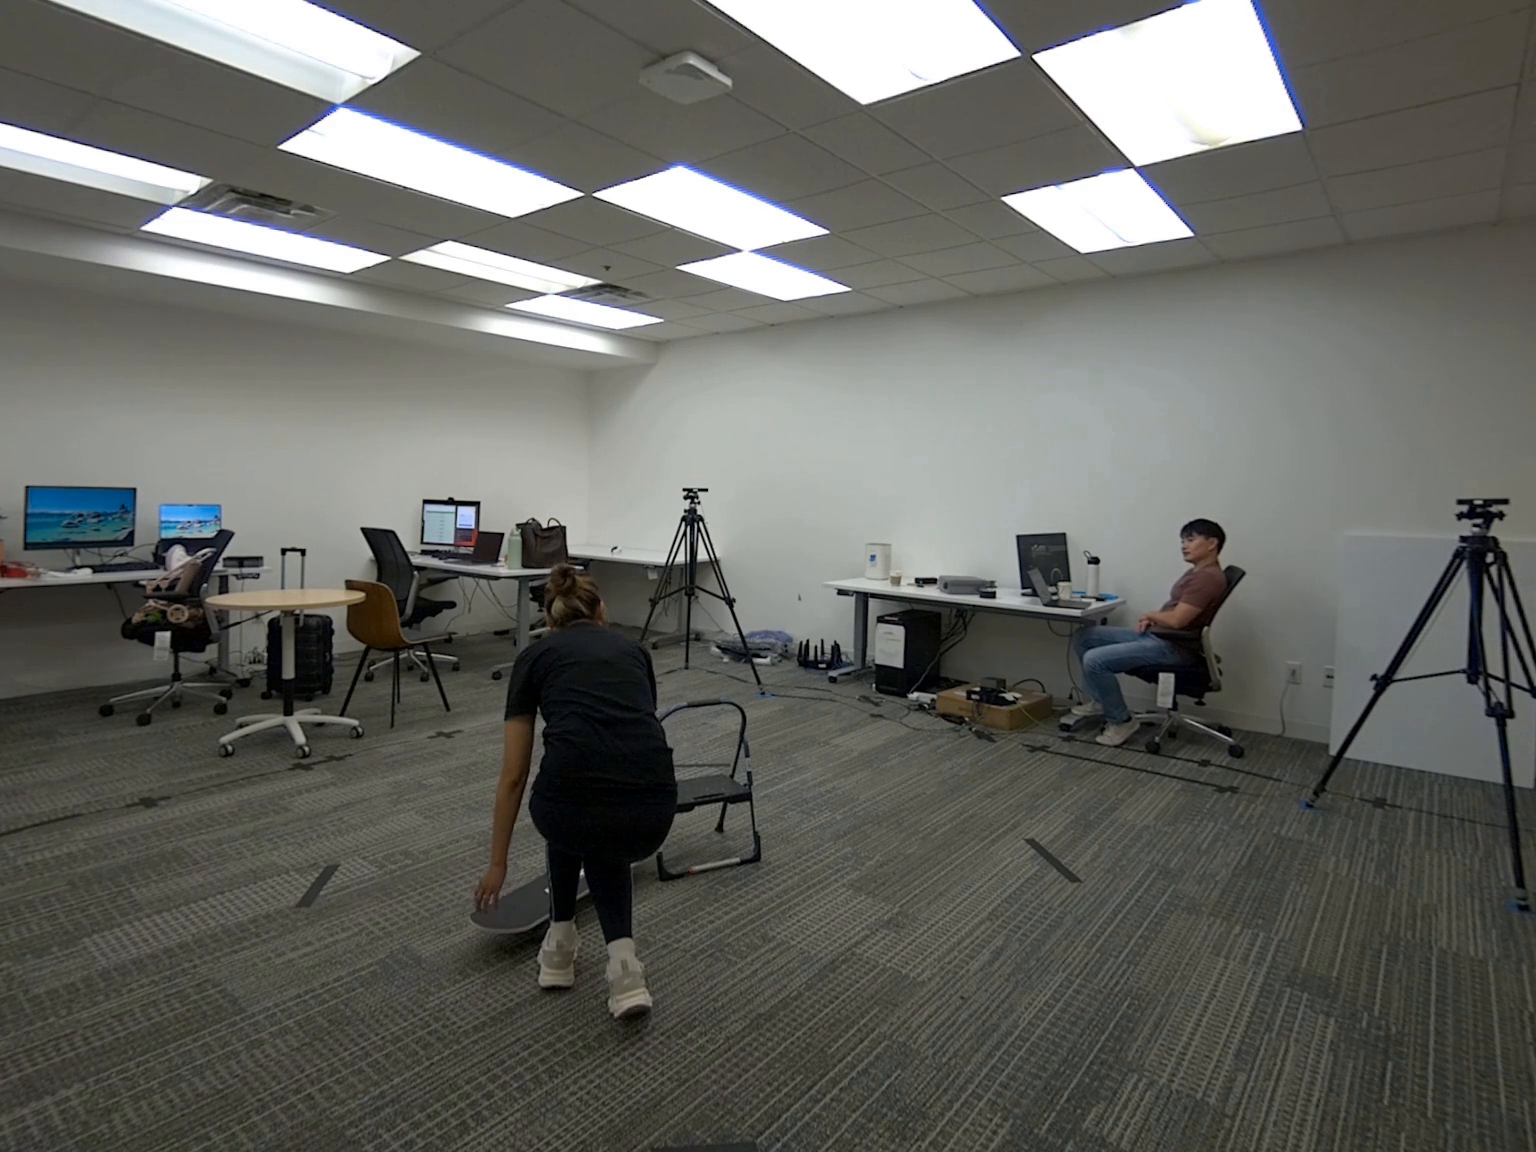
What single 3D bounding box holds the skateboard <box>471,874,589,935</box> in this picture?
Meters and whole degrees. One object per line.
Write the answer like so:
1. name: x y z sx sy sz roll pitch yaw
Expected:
1. skateboard: -0.667 1.036 2.809 0.199 0.110 0.766 4 6 28
